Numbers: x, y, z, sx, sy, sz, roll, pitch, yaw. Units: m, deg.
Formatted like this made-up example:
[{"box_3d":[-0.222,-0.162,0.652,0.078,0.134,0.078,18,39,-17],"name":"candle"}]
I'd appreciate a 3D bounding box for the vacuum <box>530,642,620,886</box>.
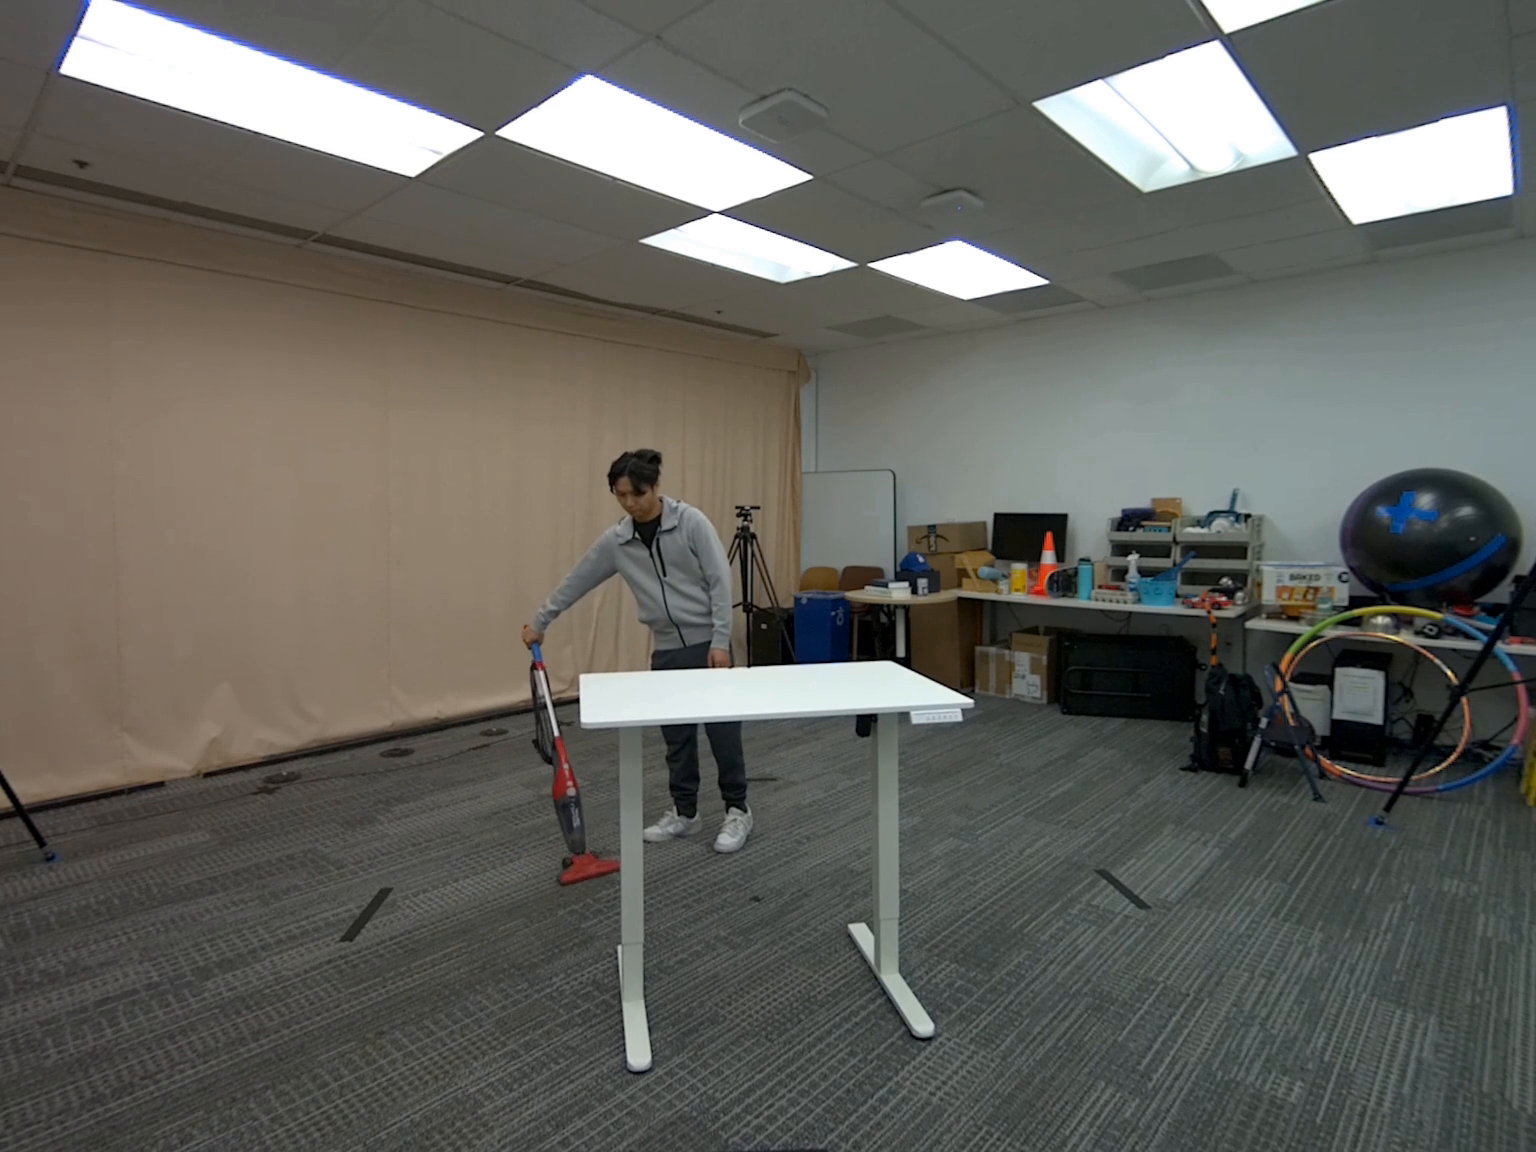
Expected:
[{"box_3d":[-0.862,0.689,3.440,0.245,1.074,0.145,-3,-33,-35],"name":"vacuum"}]
